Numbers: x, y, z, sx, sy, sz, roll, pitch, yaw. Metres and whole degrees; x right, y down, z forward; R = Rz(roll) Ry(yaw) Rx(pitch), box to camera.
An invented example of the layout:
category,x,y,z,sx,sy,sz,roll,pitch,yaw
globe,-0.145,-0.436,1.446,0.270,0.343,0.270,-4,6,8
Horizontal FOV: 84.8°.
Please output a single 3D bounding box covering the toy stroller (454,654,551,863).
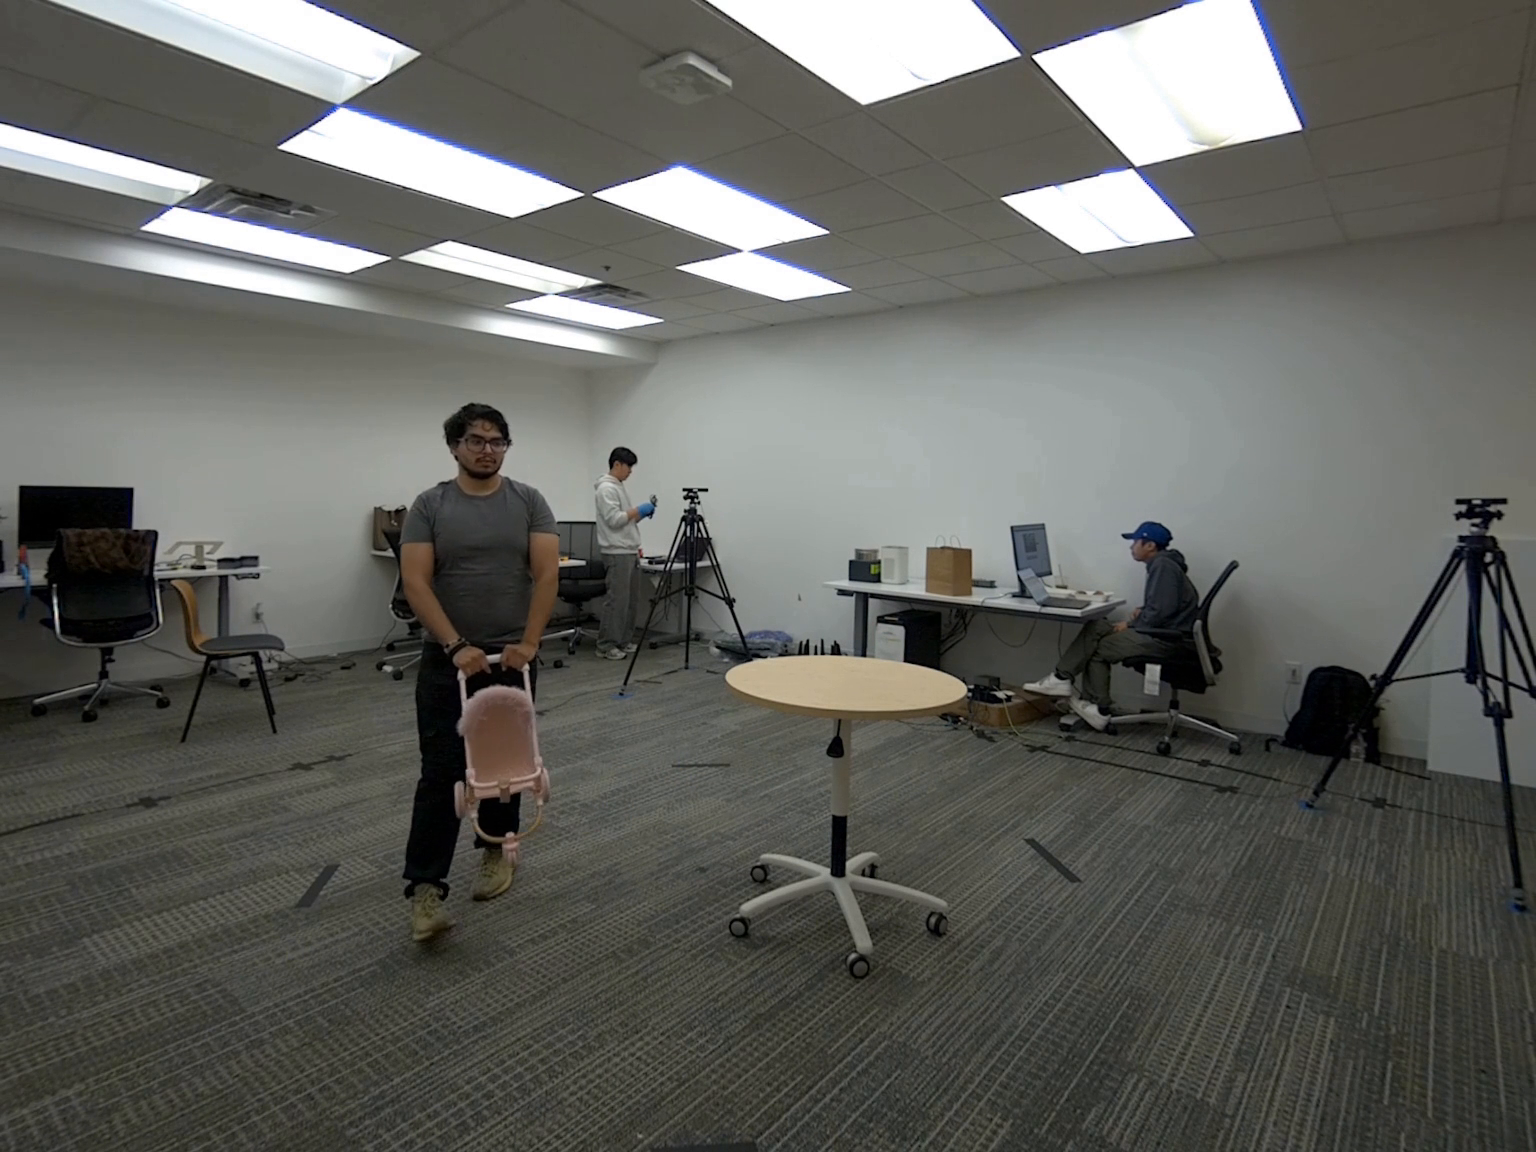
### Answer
category,x,y,z,sx,sy,sz,roll,pitch,yaw
toy stroller,-0.793,0.534,2.484,0.277,0.531,0.350,-3,9,-17
